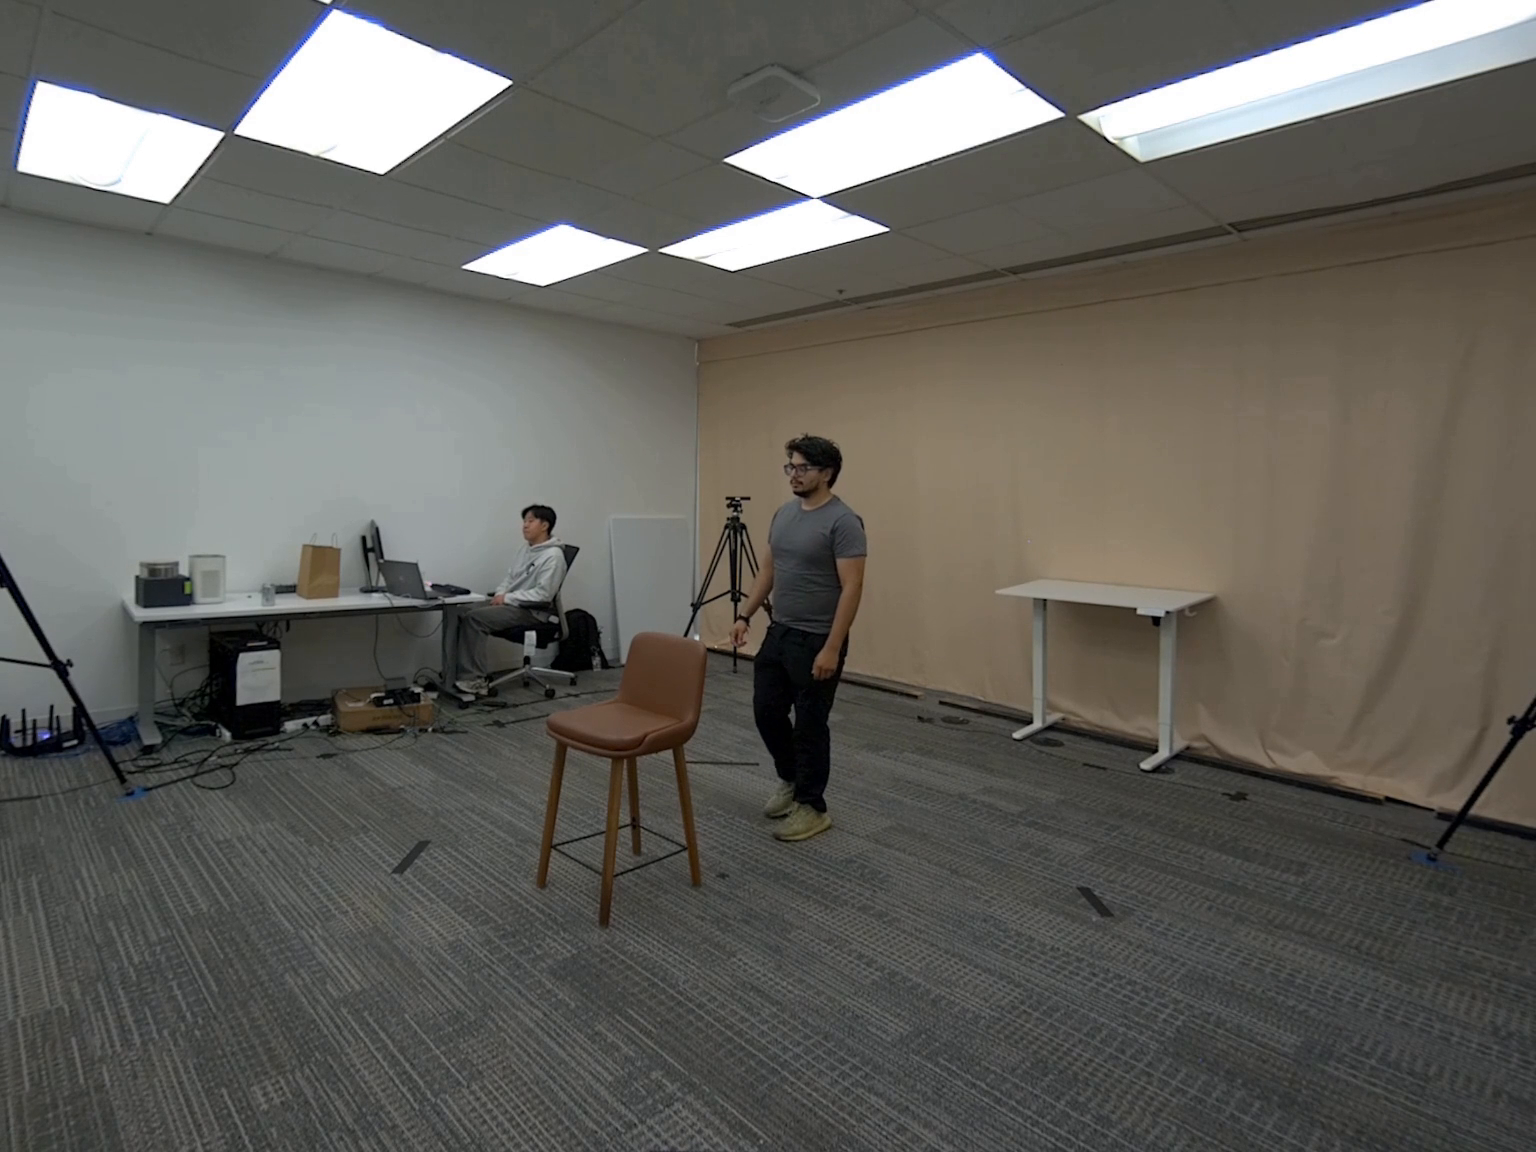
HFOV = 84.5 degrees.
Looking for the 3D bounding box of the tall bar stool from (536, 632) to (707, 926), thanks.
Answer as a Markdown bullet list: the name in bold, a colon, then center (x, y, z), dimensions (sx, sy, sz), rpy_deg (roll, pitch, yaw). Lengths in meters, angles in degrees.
- **tall bar stool**: center (-0.516, 0.675, 2.982), dimensions (0.468, 0.888, 0.456), rpy_deg (4, 3, 45)
